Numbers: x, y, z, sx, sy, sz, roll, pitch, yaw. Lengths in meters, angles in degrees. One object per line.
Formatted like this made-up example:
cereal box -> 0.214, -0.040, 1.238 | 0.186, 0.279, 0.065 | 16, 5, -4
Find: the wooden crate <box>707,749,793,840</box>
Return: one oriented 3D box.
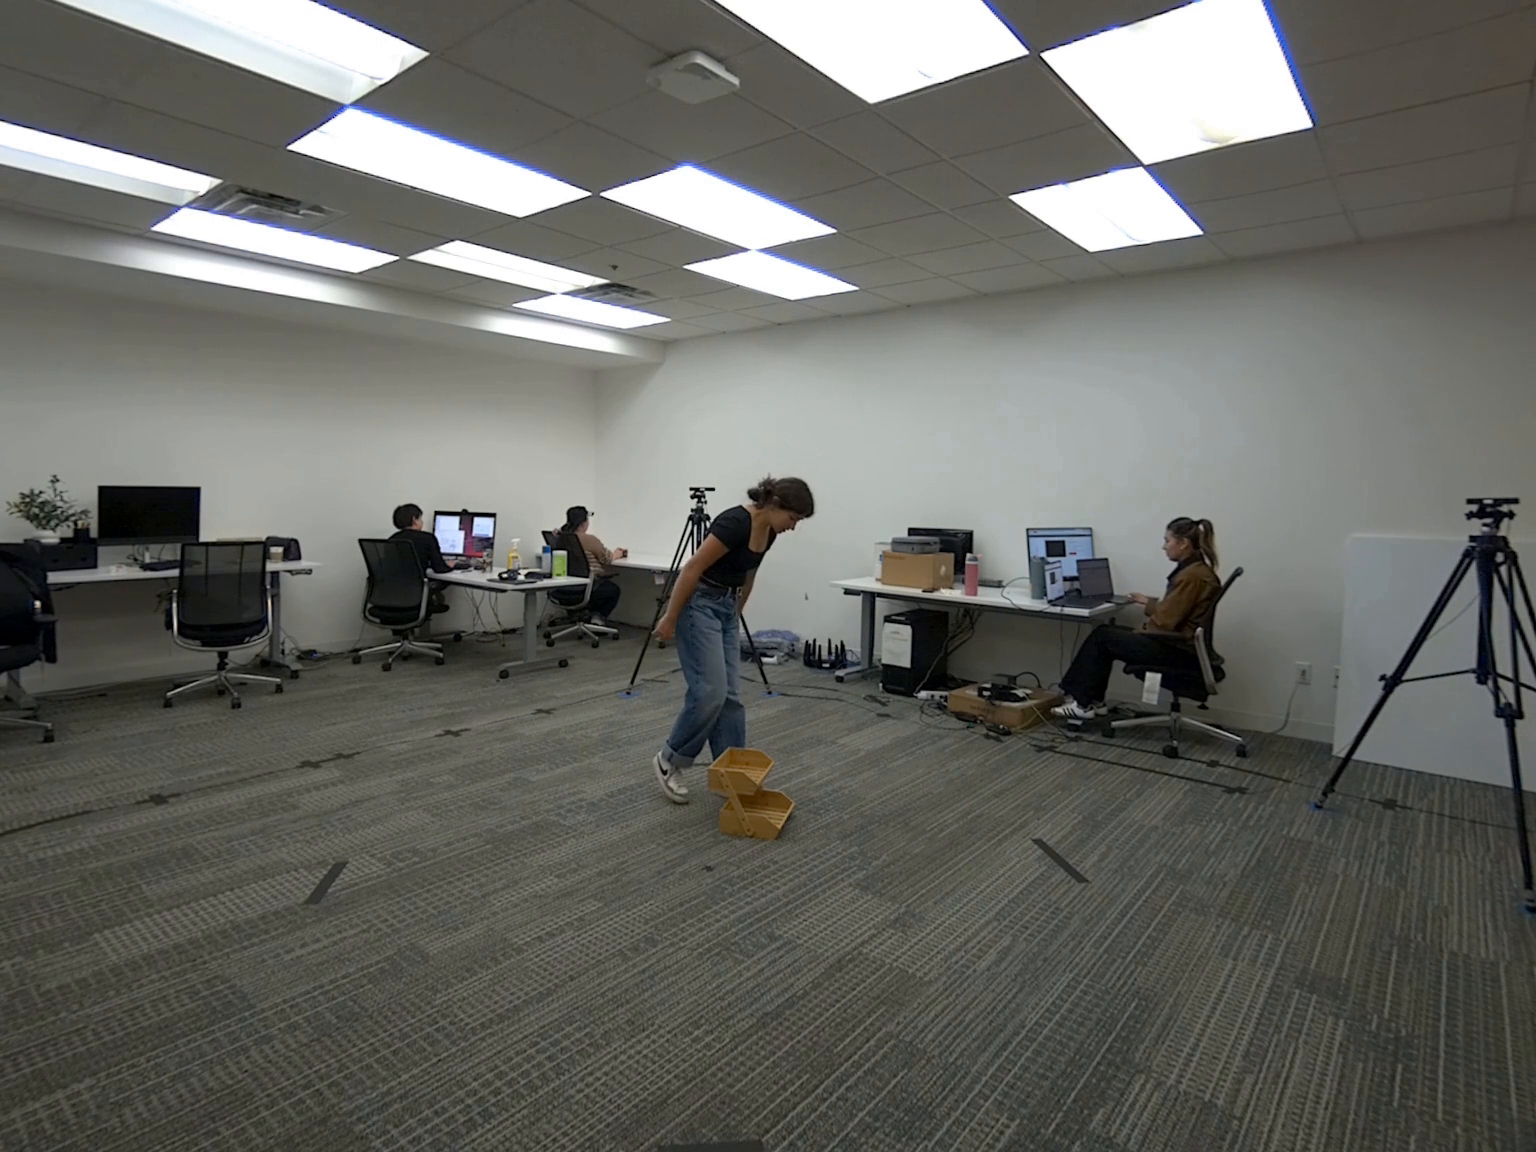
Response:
wooden crate -> -0.067, 0.893, 3.549 | 0.307, 0.272, 0.320 | 2, 4, 15
